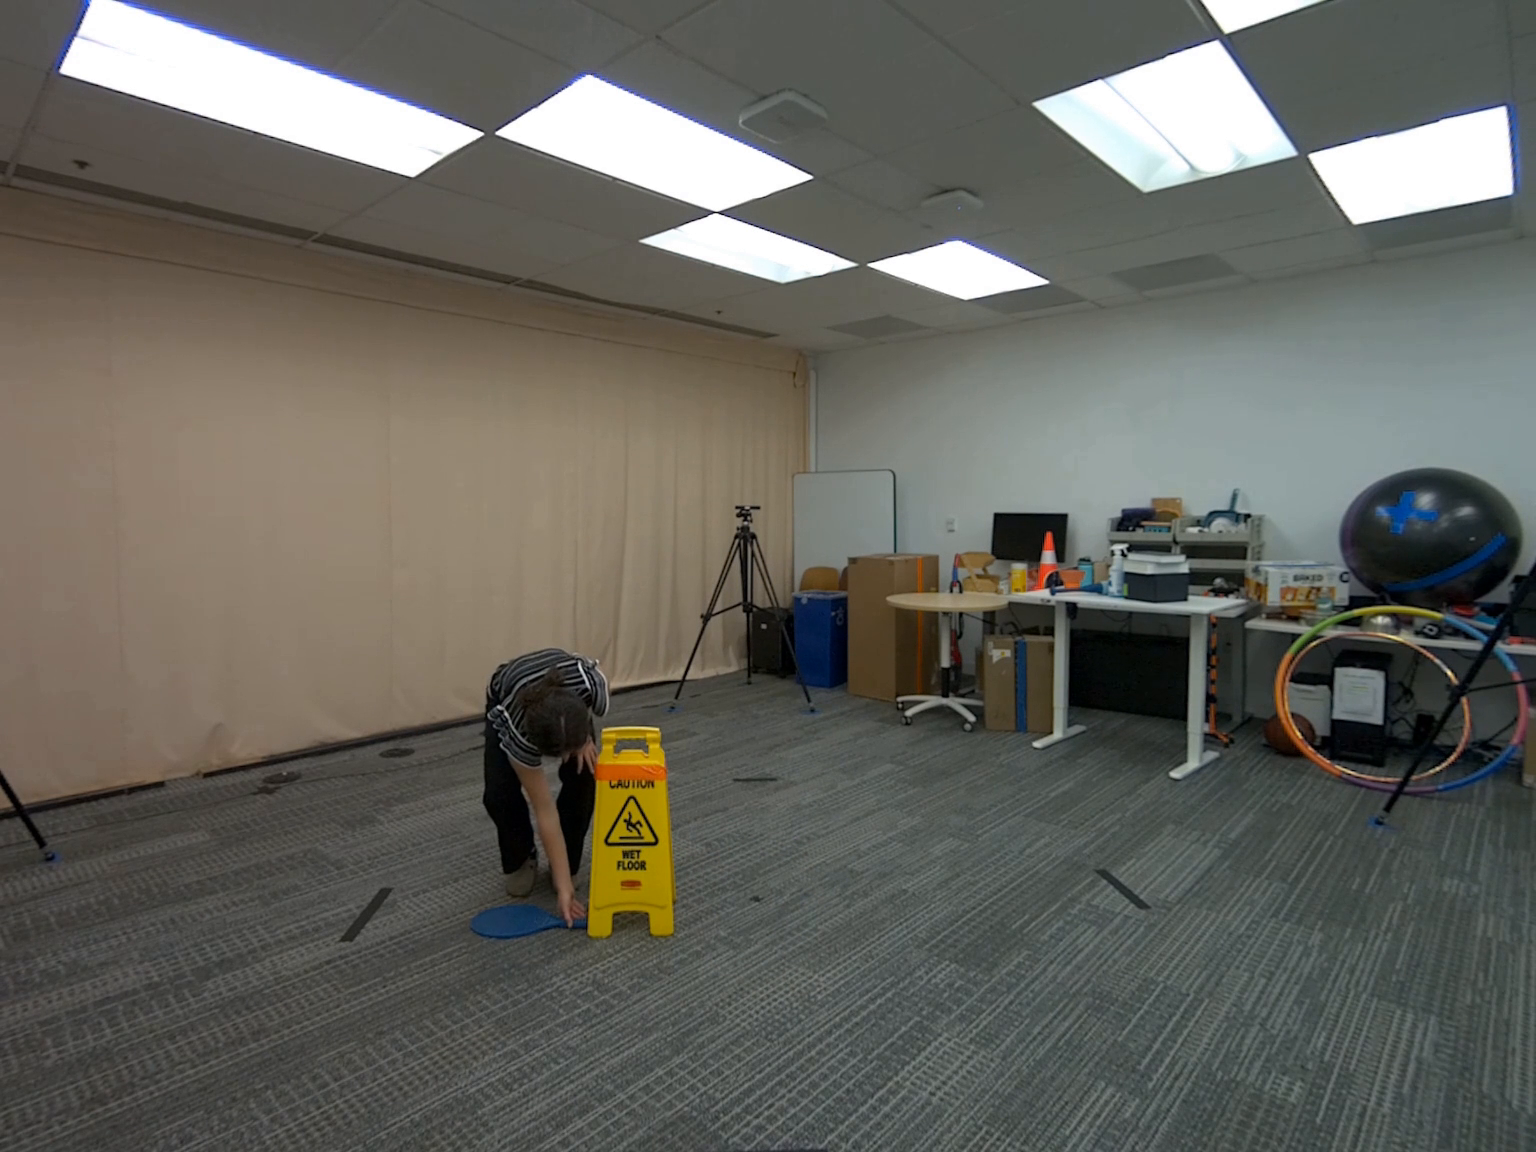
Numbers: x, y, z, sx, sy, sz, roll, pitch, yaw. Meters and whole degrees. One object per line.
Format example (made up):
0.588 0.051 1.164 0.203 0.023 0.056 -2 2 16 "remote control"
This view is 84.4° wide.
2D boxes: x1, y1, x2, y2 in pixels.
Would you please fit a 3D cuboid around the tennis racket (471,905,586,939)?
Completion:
-0.791 1.146 2.820 0.436 0.031 0.212 -2 5 7 "tennis racket"
